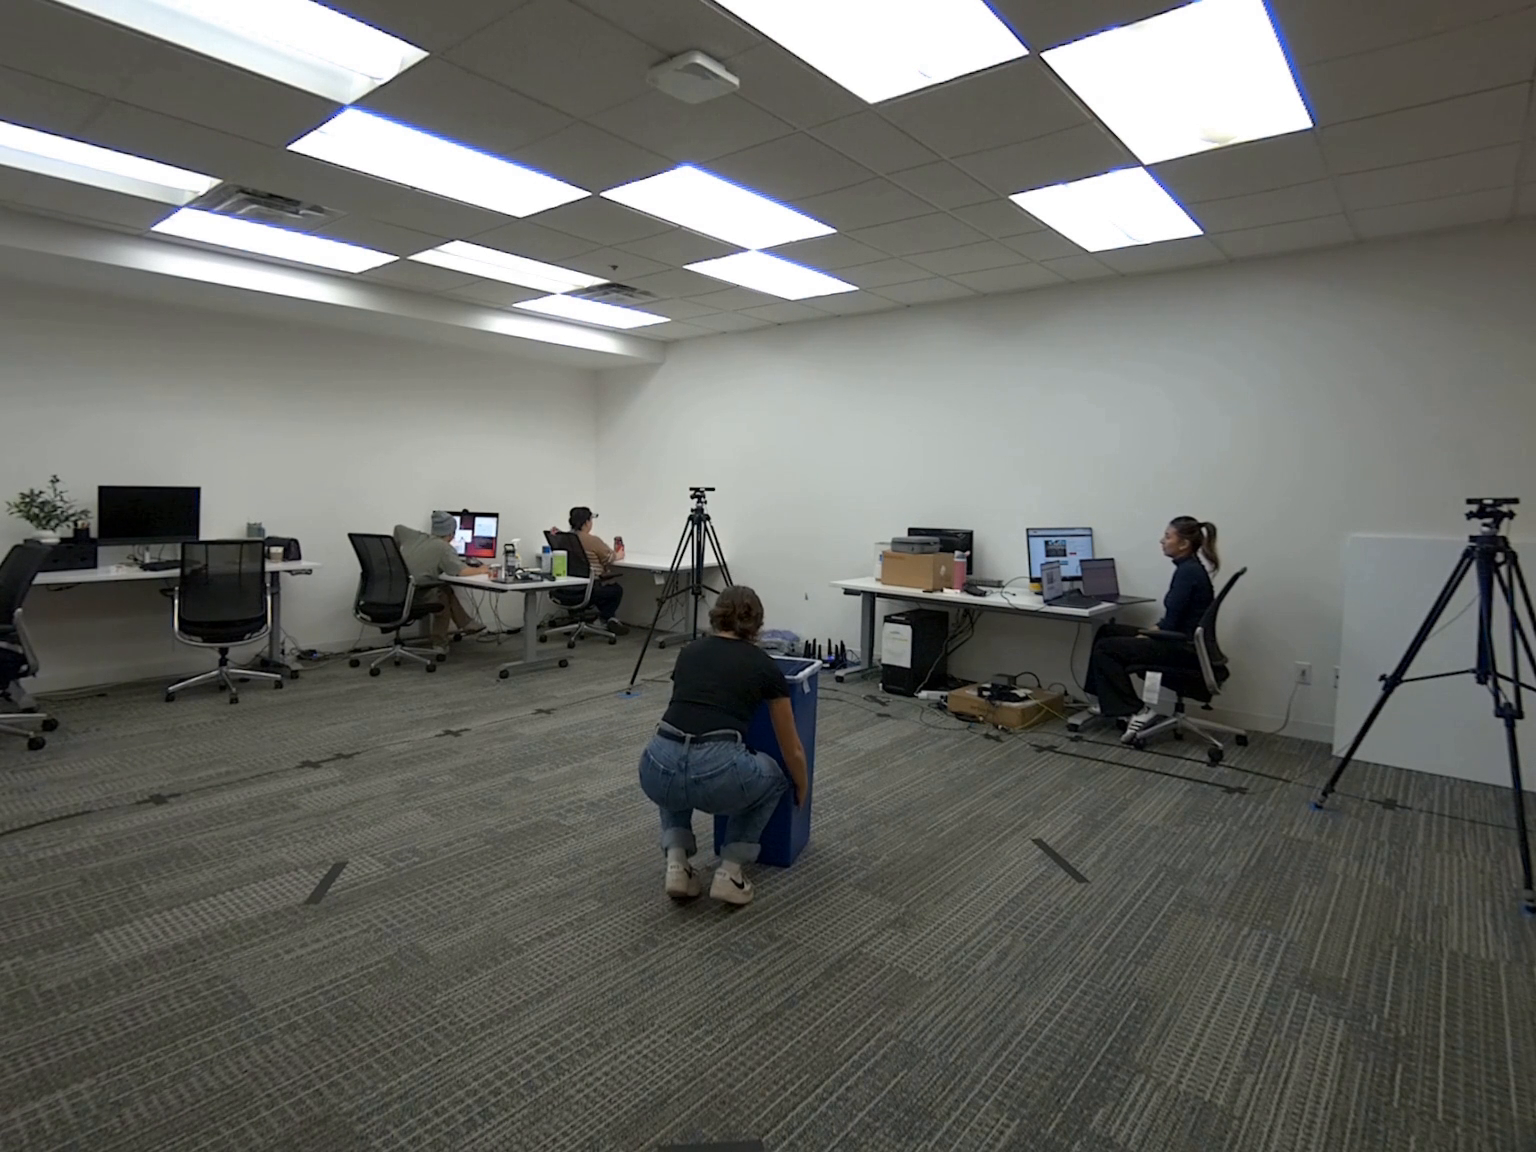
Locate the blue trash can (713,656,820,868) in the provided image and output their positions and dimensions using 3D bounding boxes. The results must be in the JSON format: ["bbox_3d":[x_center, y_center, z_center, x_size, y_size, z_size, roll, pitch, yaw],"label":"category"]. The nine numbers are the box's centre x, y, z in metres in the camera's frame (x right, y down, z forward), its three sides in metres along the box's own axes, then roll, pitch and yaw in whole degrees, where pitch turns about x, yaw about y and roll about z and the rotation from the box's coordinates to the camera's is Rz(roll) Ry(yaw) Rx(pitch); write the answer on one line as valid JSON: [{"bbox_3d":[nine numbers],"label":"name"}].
[{"bbox_3d":[-0.028,0.692,3.296,0.382,0.712,0.371,2,3,20],"label":"blue trash can"}]
